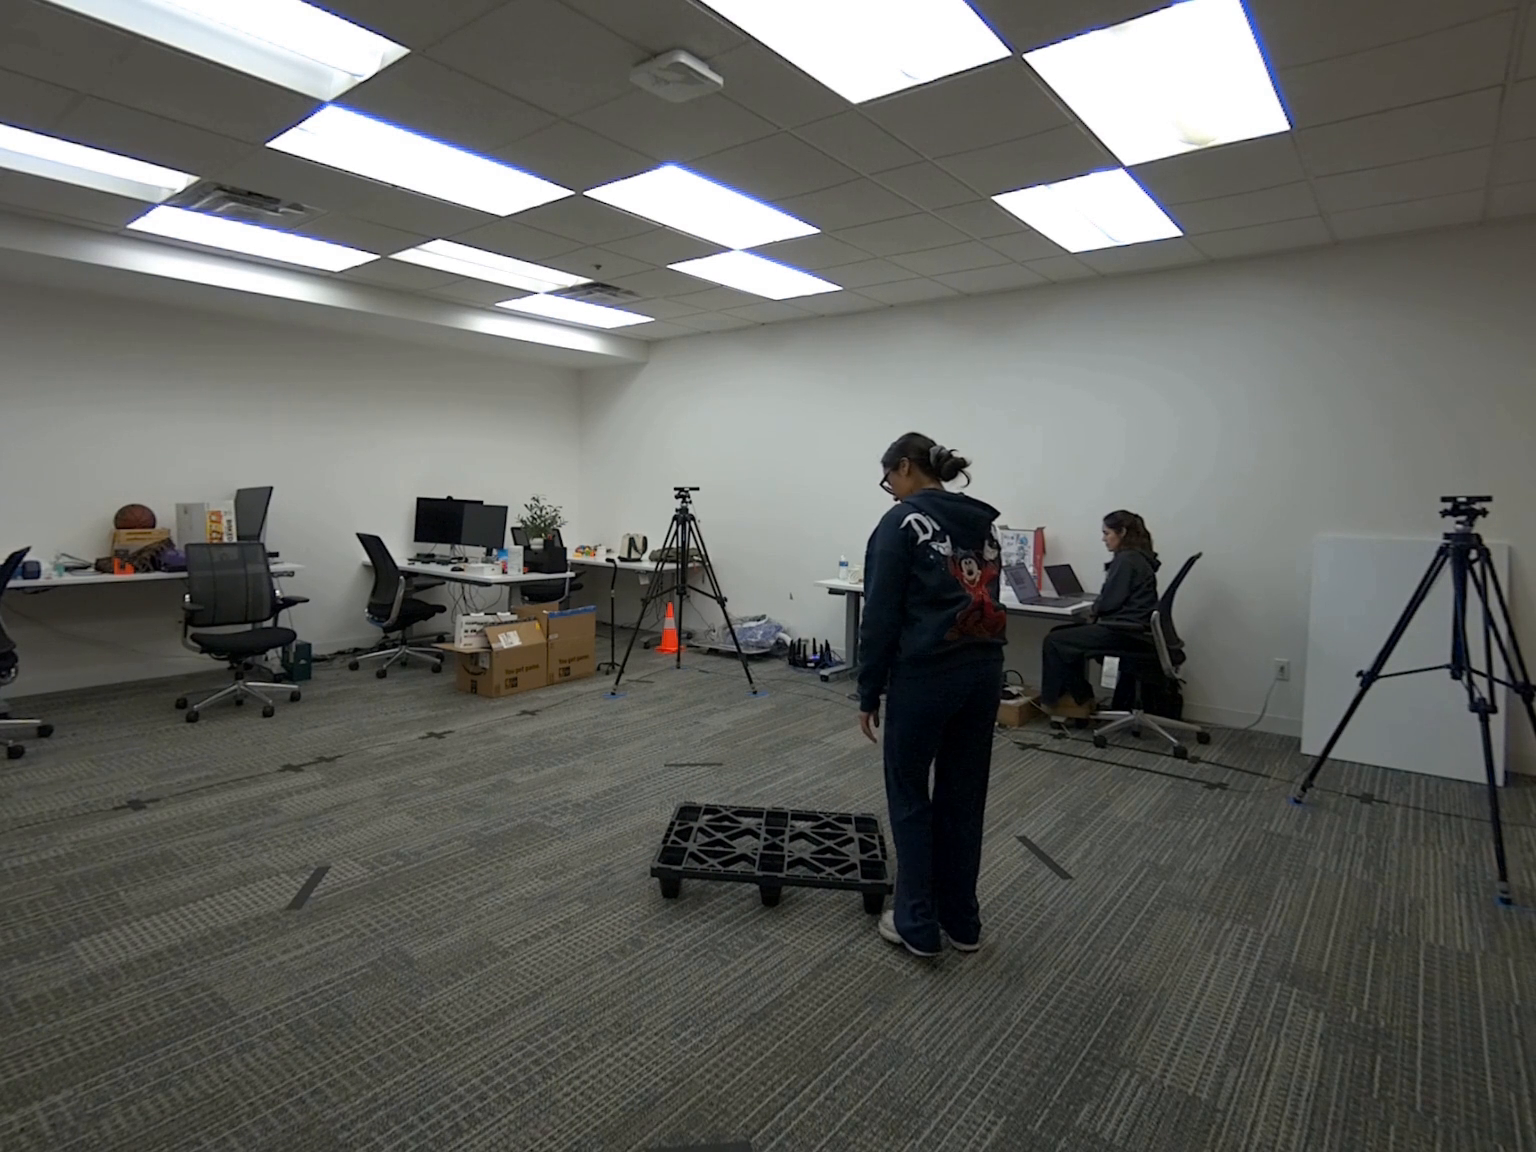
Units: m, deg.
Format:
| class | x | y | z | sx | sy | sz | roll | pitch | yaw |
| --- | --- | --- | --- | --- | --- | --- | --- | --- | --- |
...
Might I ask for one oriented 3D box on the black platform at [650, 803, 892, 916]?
| class | x | y | z | sx | sy | sz | roll | pitch | yaw |
| --- | --- | --- | --- | --- | --- | --- | --- | --- | --- |
| black platform | 0.014 | 1.007 | 3.062 | 0.811 | 0.143 | 0.604 | 2 | 6 | 5 |
